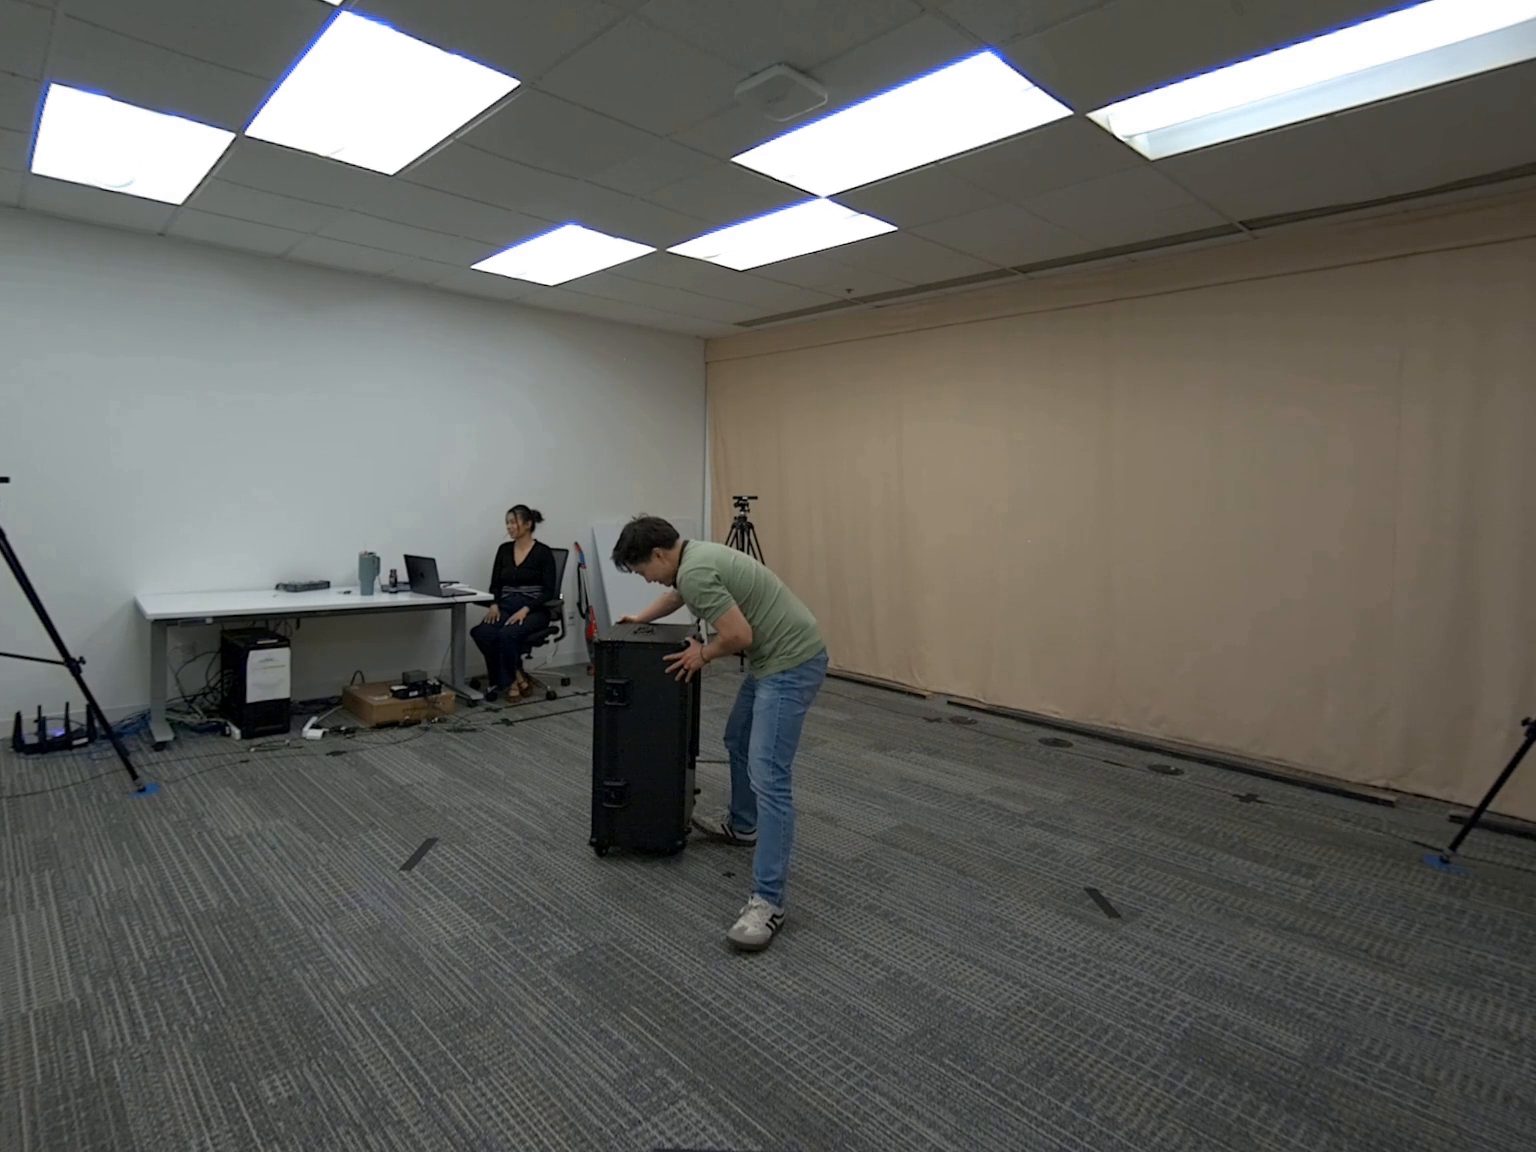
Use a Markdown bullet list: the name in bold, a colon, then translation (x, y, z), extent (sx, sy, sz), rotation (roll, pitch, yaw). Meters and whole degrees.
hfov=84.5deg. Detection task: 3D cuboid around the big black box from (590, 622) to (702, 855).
- **big black box**: translation (-0.478, 0.645, 3.380), extent (0.397, 0.859, 0.521), rotation (3, 3, 2)
